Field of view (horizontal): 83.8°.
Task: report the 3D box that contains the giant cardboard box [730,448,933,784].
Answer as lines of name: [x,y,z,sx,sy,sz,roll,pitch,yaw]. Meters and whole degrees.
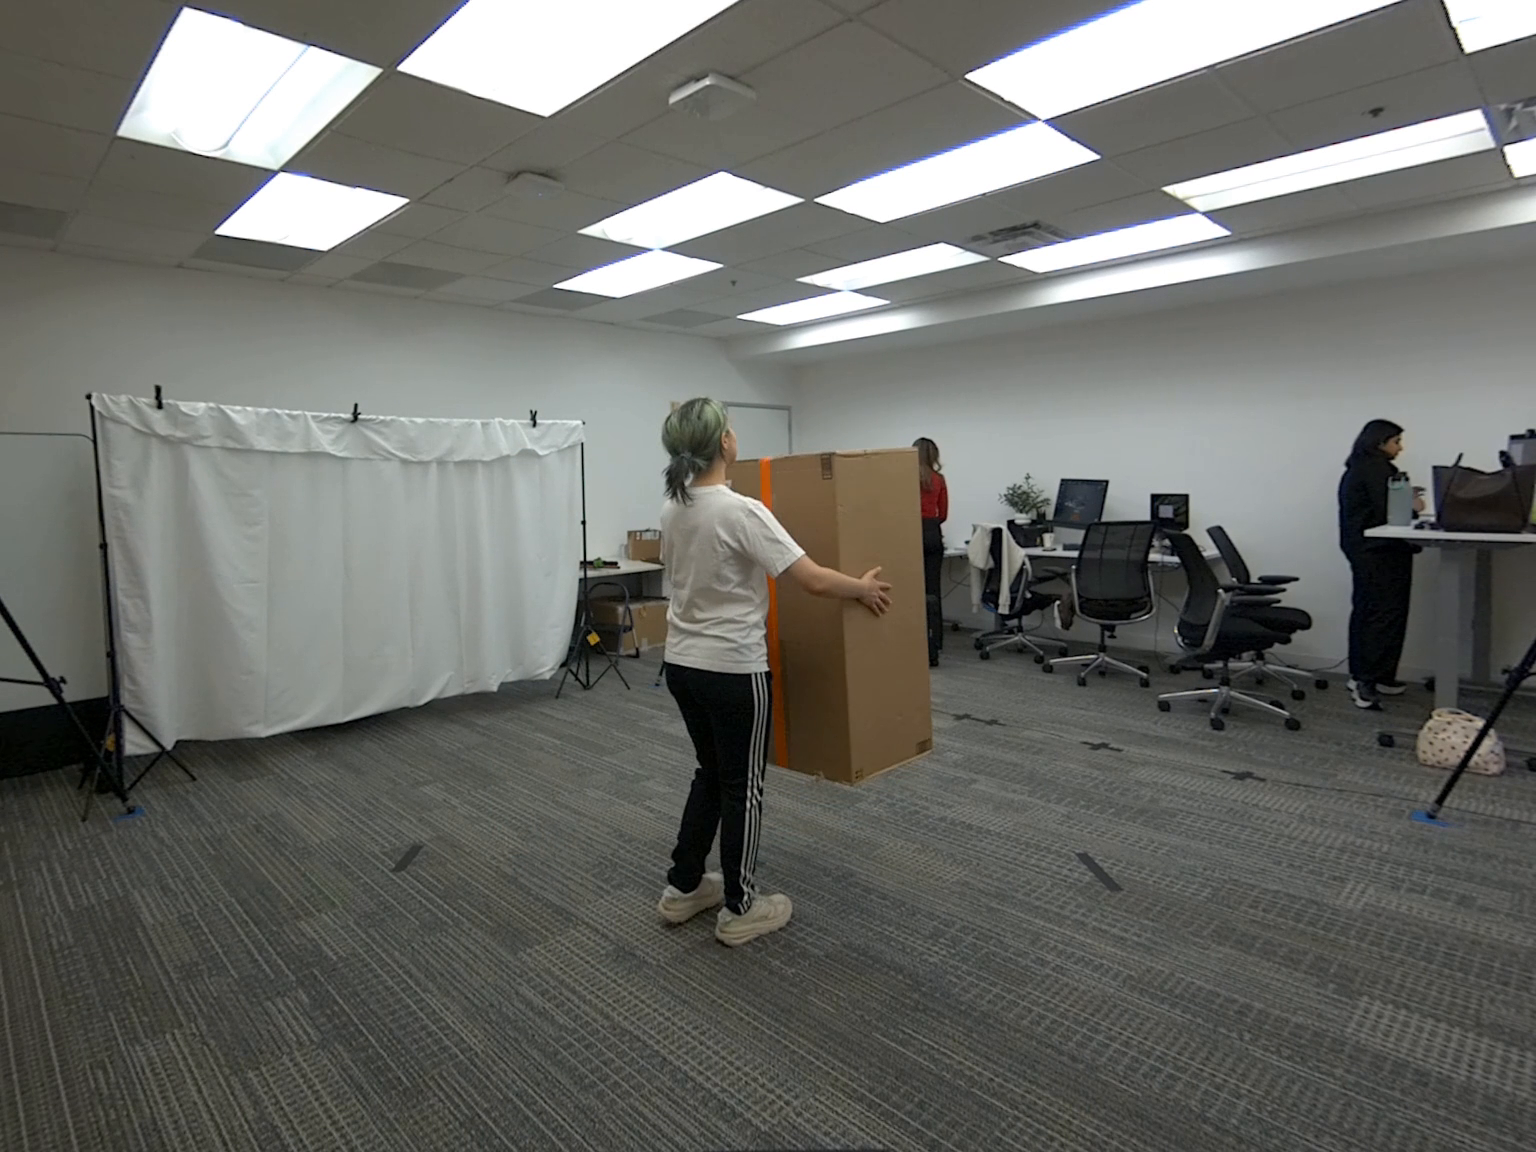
giant cardboard box: [0.172,0.101,2.919,0.415,1.022,0.594,-7,5,-41]
